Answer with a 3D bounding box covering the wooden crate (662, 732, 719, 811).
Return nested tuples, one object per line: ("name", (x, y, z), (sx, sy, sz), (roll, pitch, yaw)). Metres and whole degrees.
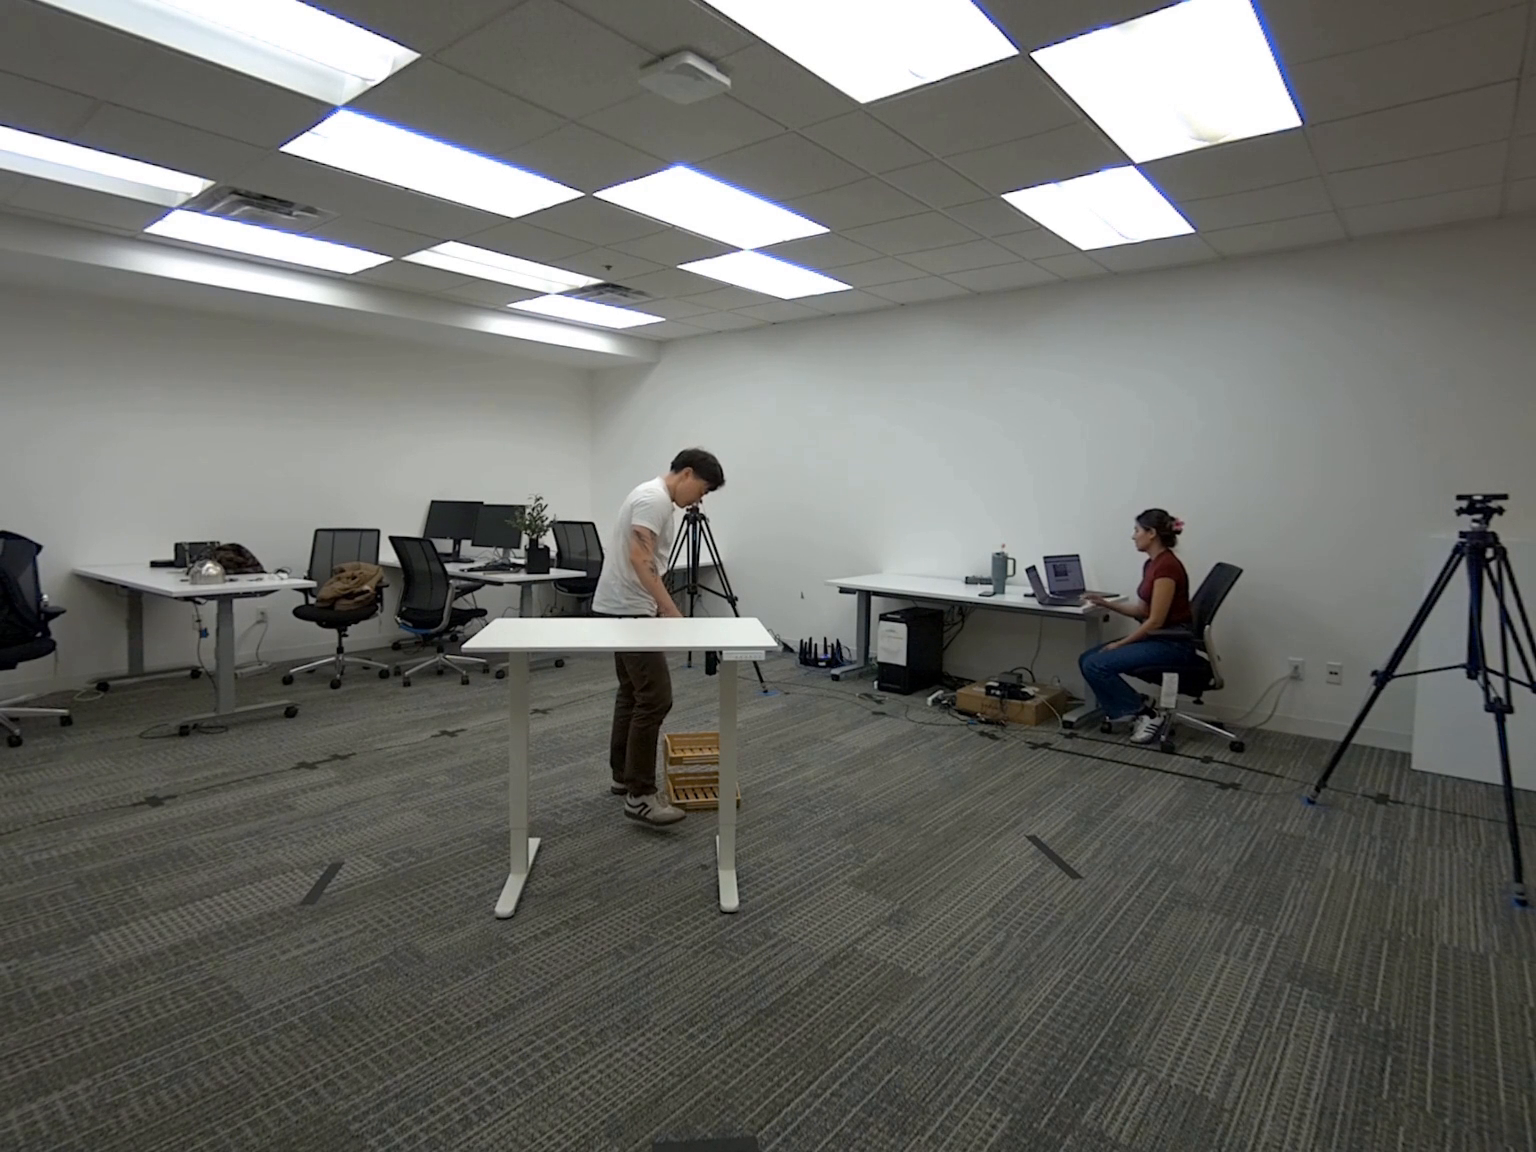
("wooden crate", (-0.313, 0.857, 3.797), (0.320, 0.272, 0.307), (0, 4, -13))
